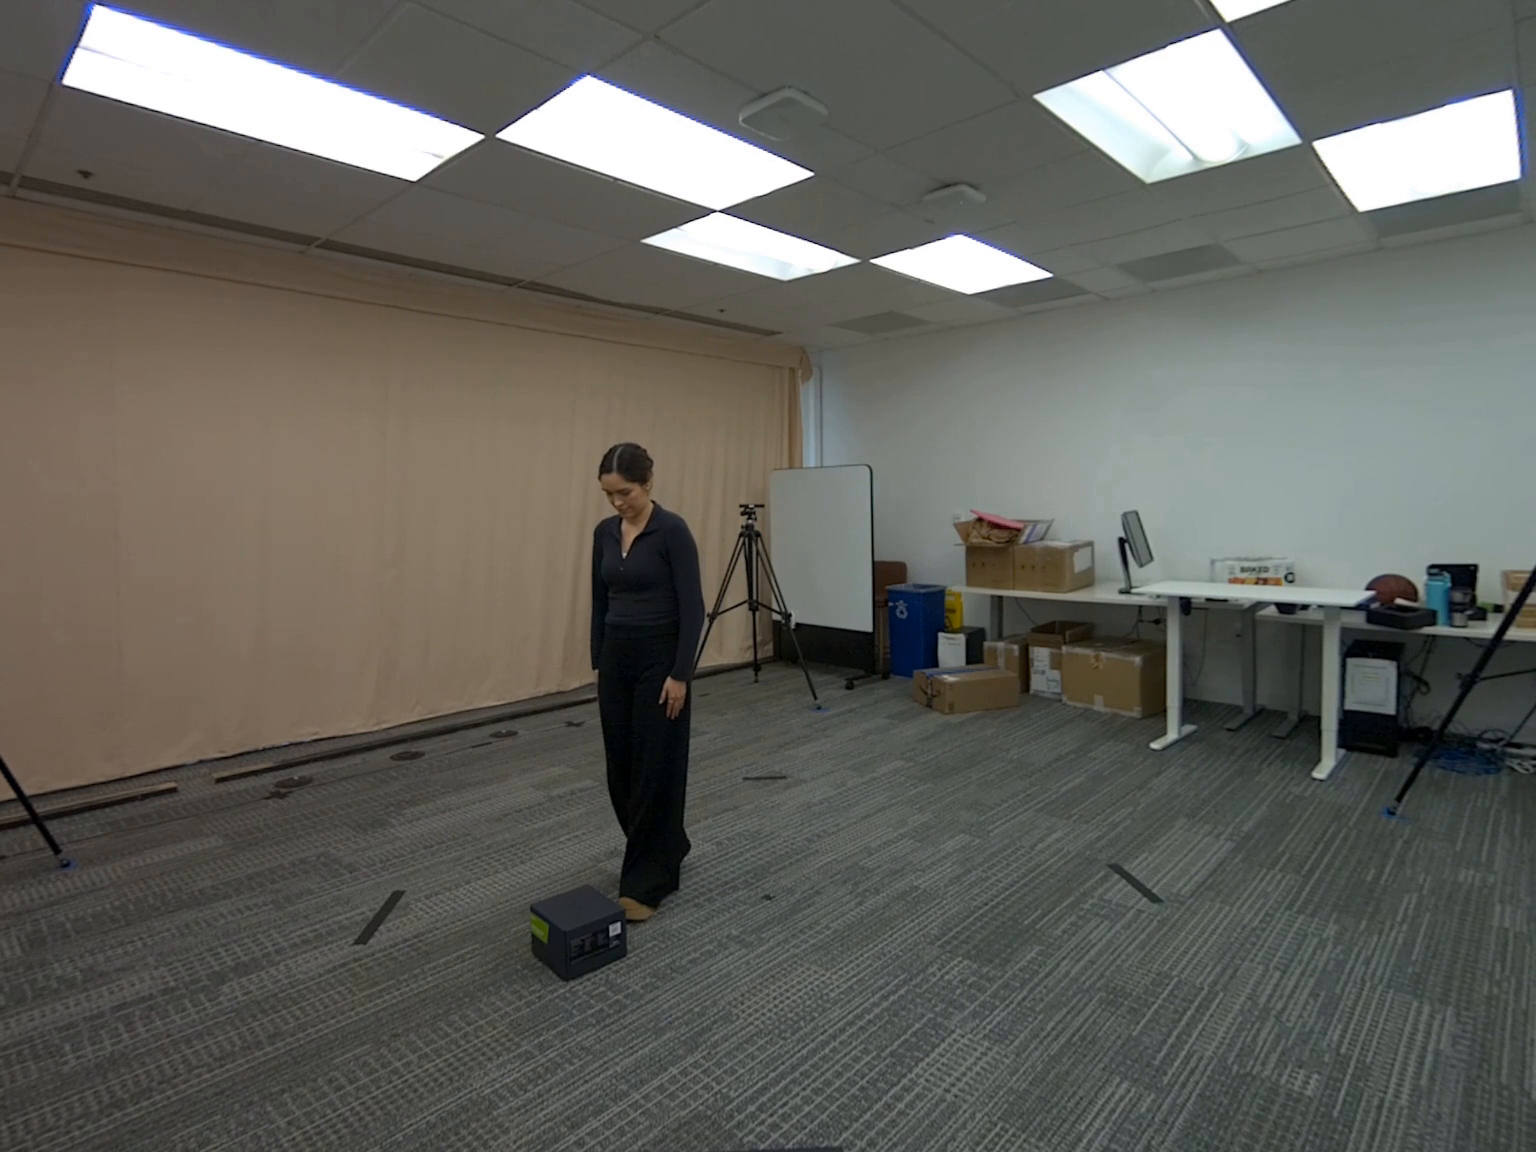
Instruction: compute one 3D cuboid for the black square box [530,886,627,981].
[{"bbox_3d":[-0.590,1.098,2.620,0.210,0.155,0.235,-6,6,-41],"label":"black square box"}]
